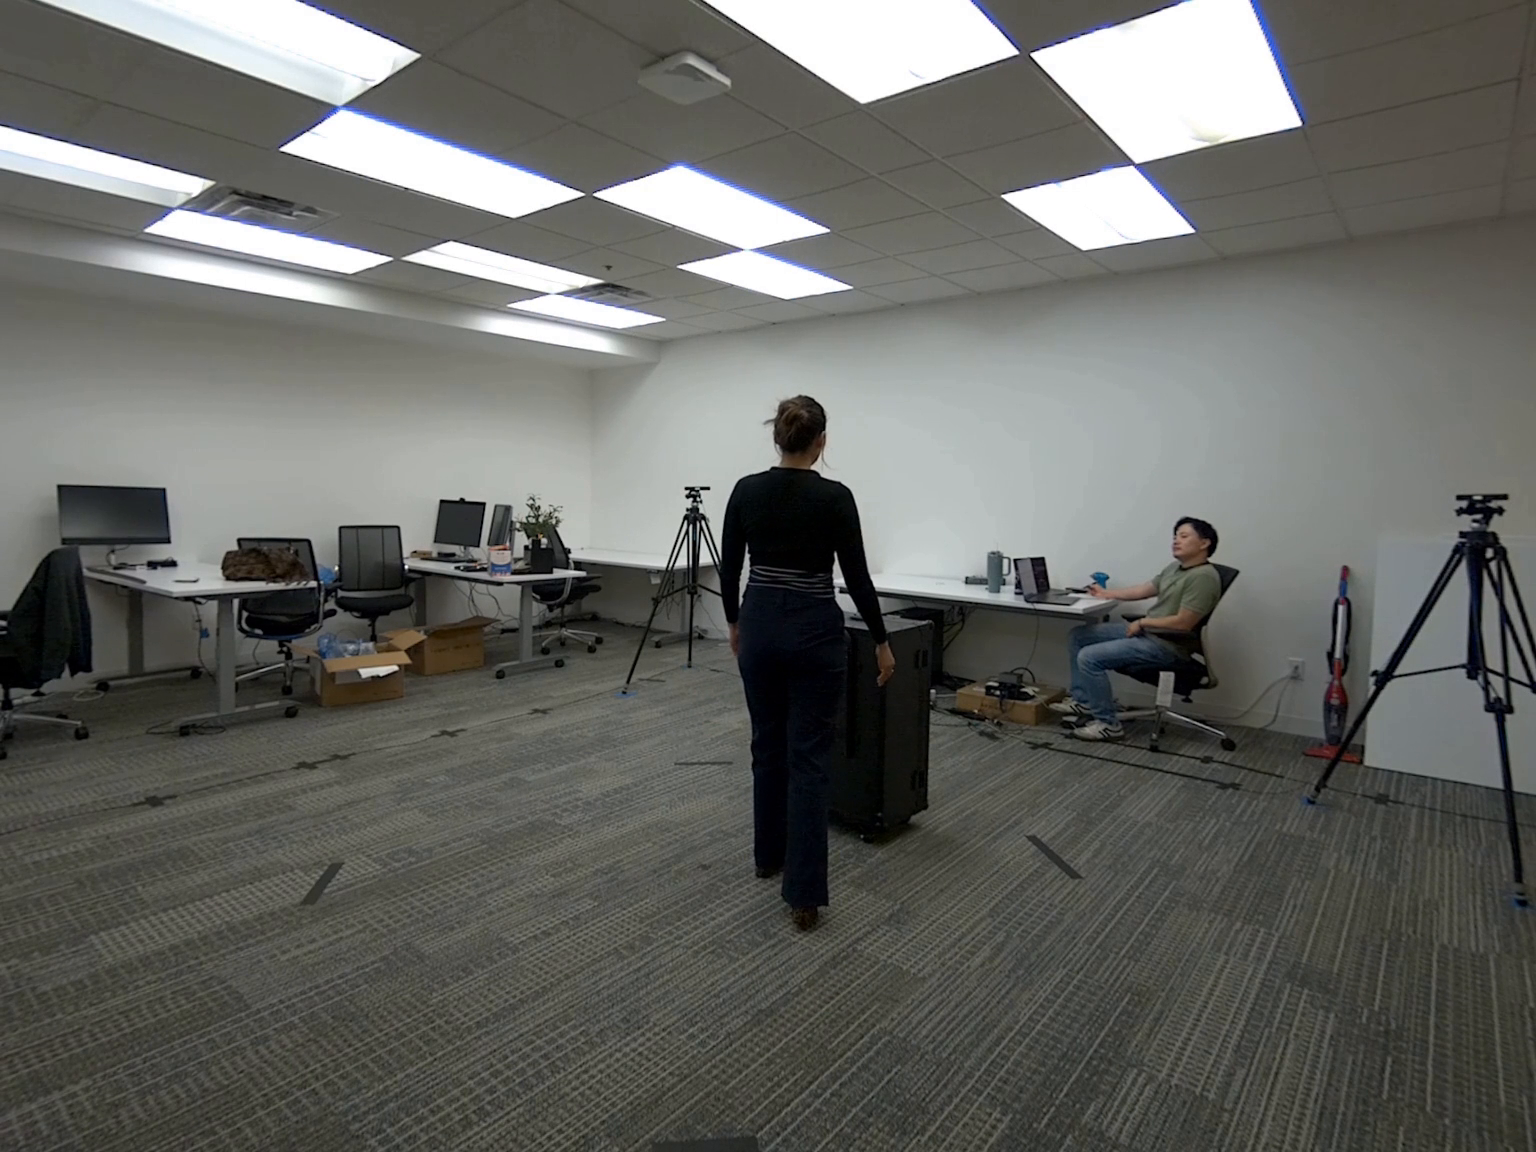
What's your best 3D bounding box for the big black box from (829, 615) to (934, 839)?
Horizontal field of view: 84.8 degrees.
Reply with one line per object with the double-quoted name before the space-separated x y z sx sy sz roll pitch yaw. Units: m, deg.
"big black box" 0.367 0.606 3.555 0.539 0.859 0.384 4 5 41
